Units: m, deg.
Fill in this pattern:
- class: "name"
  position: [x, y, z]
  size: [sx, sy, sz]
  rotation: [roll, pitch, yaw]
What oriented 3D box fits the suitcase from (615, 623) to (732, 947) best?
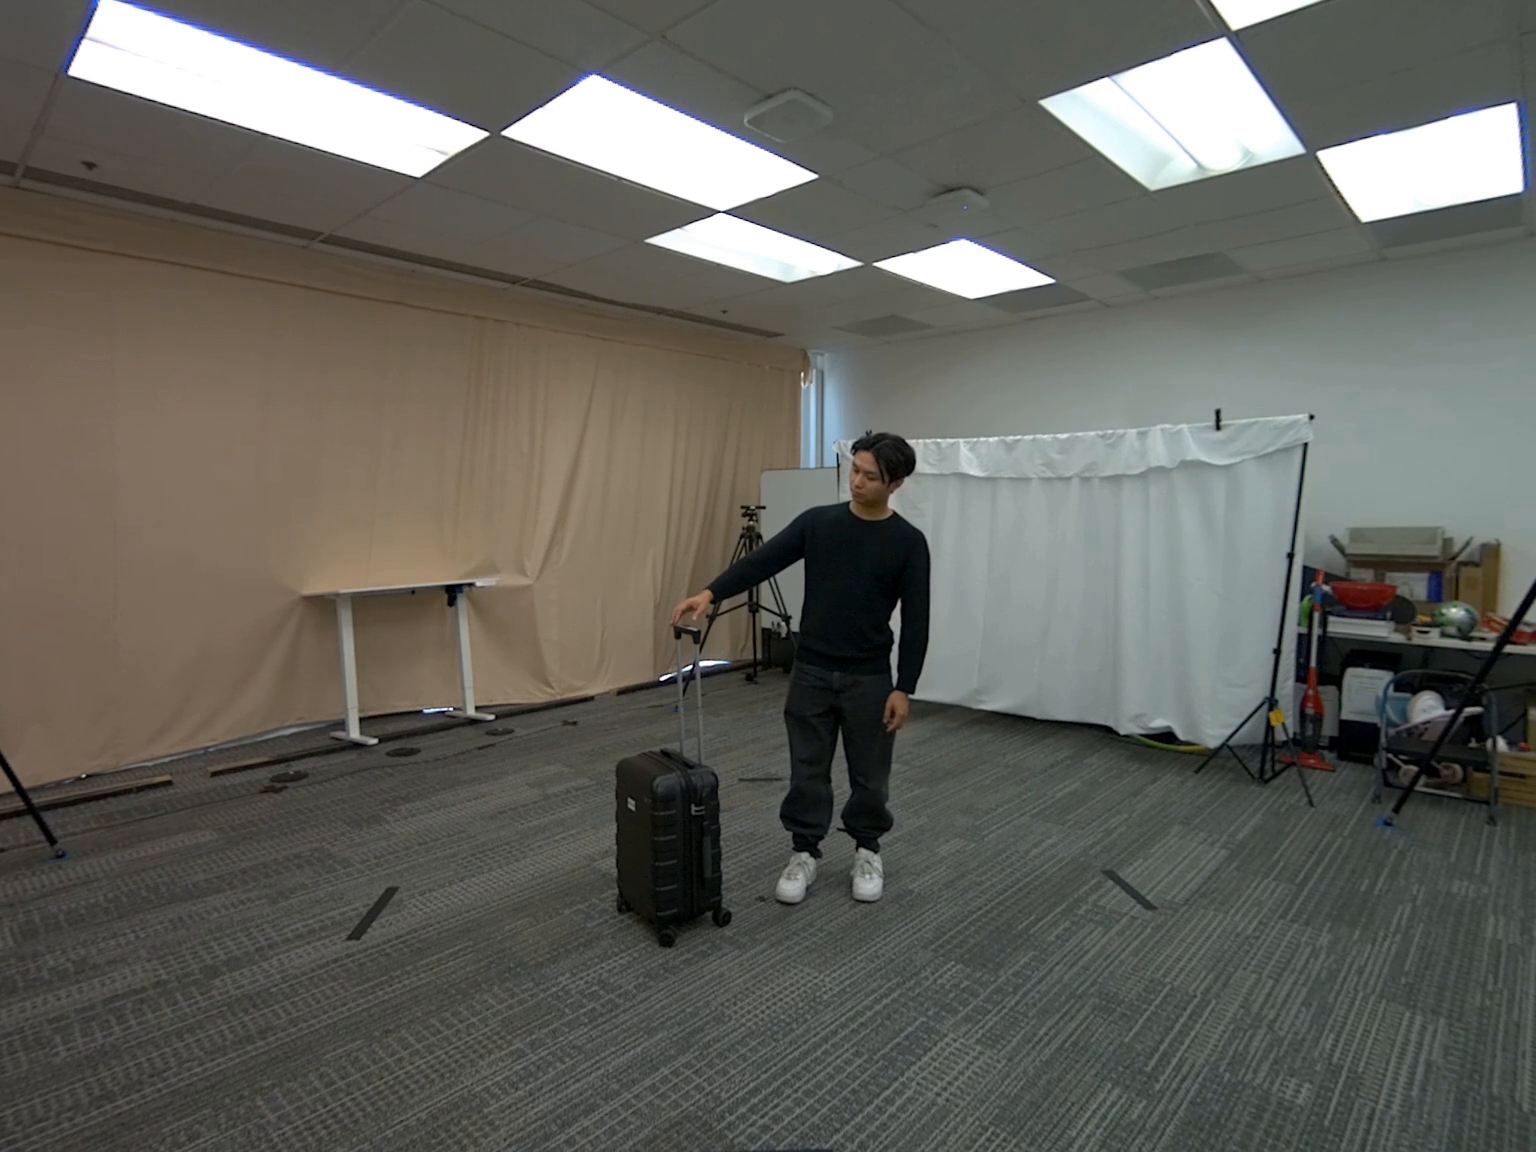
- class: "suitcase"
  position: [-0.343, 0.683, 2.824]
  size: [0.250, 0.976, 0.396]
  rotation: [-4, 4, -34]
